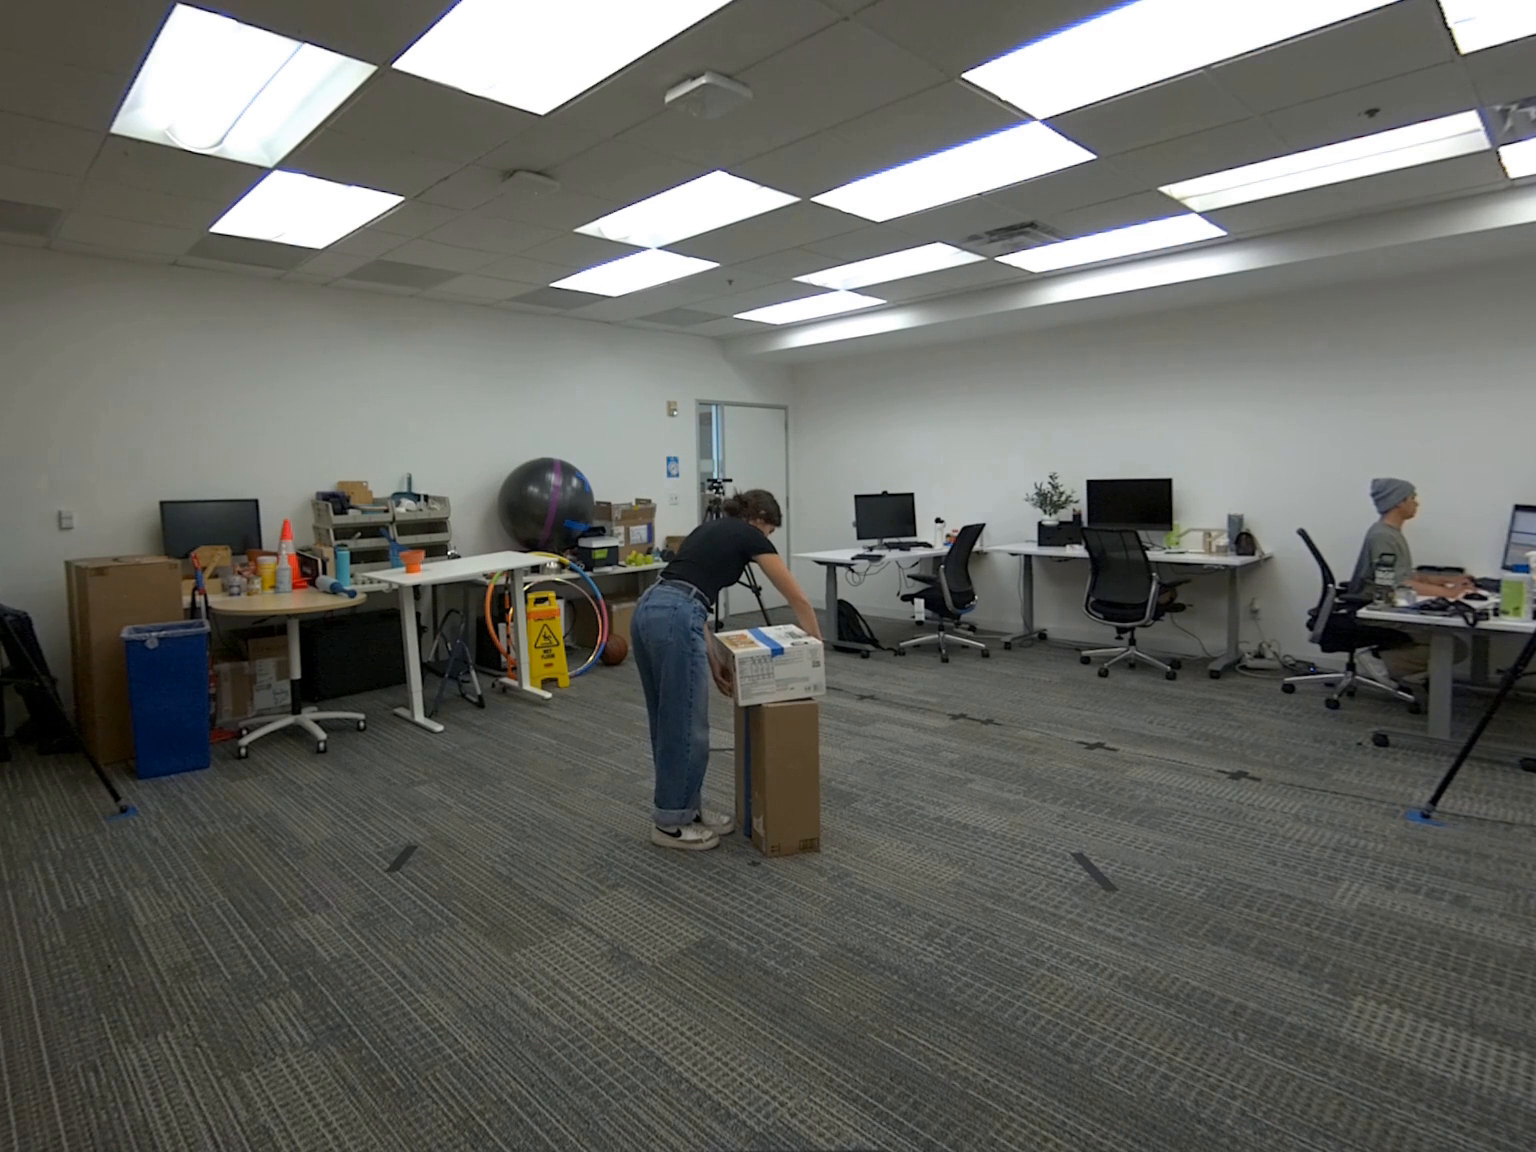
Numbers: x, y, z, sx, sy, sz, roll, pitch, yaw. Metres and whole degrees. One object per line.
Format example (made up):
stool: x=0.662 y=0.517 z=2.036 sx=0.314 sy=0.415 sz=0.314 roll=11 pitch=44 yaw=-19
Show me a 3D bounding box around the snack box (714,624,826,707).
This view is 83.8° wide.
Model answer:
snack box: x=-0.003 y=0.341 z=3.356 sx=0.337 sy=0.204 sz=0.412 roll=-7 pitch=7 yaw=-13
